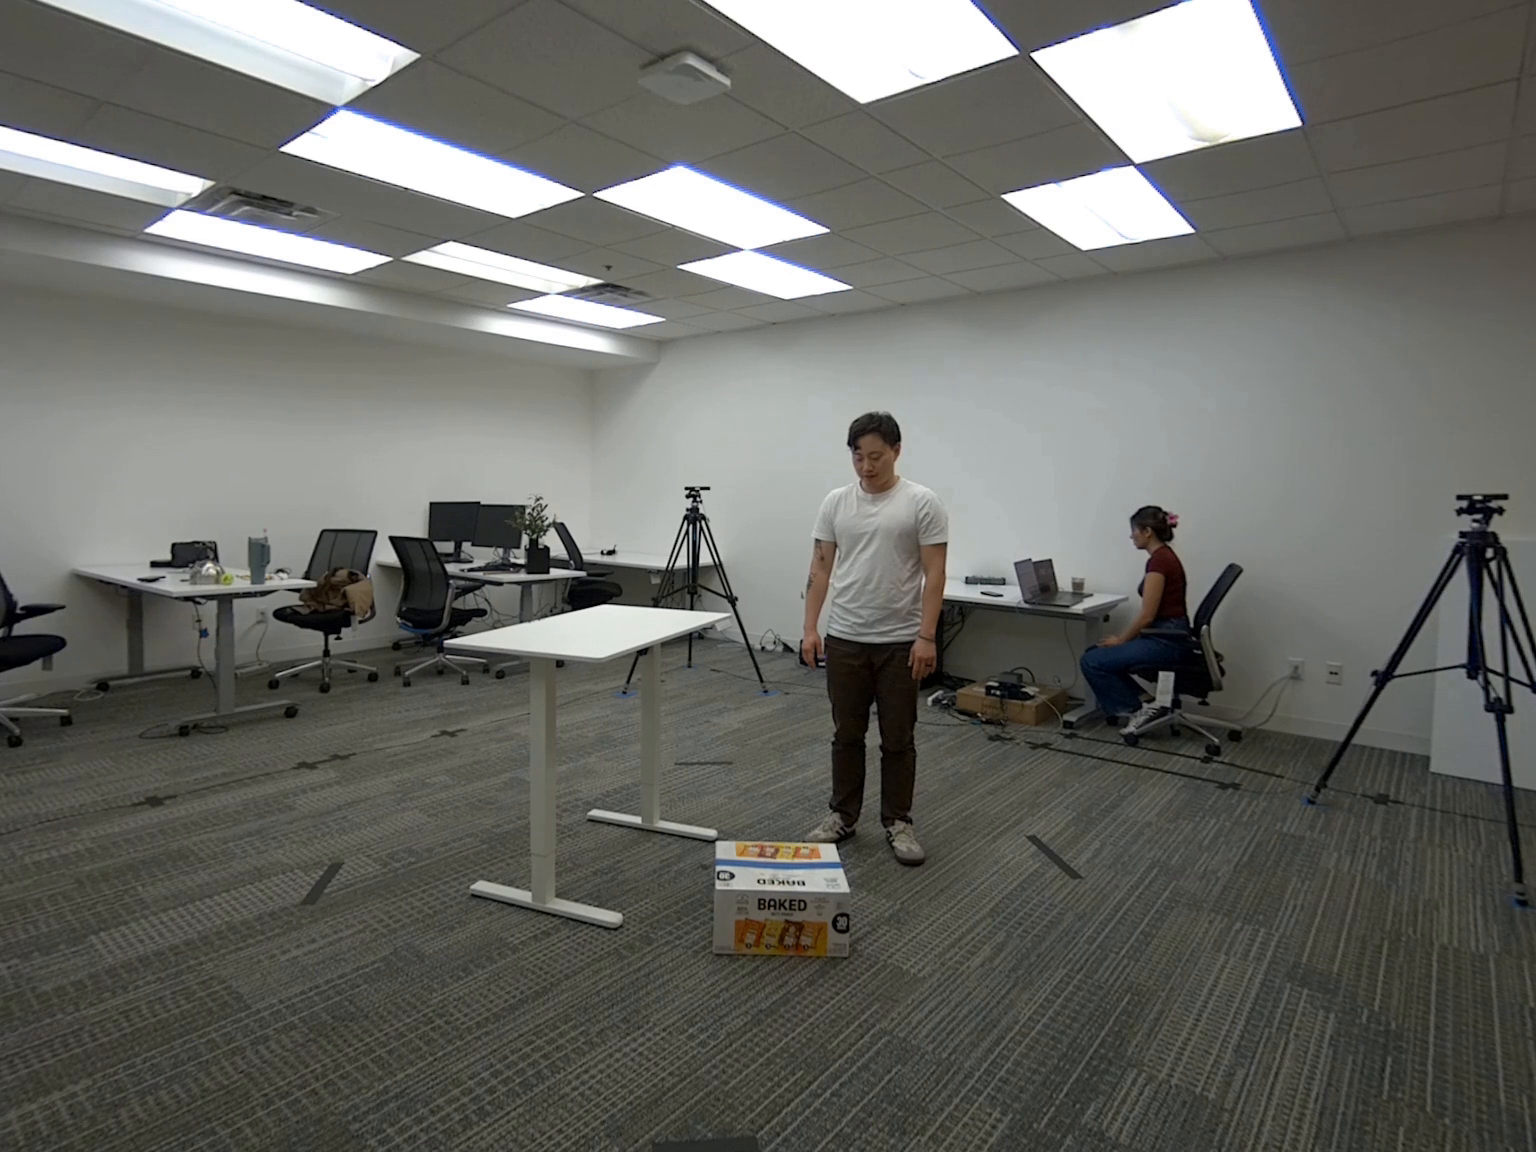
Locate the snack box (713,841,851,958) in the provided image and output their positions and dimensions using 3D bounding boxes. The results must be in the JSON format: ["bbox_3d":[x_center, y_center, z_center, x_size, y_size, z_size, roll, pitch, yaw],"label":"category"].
[{"bbox_3d":[0.026,1.008,2.682,0.405,0.205,0.342,1,5,-2],"label":"snack box"}]
